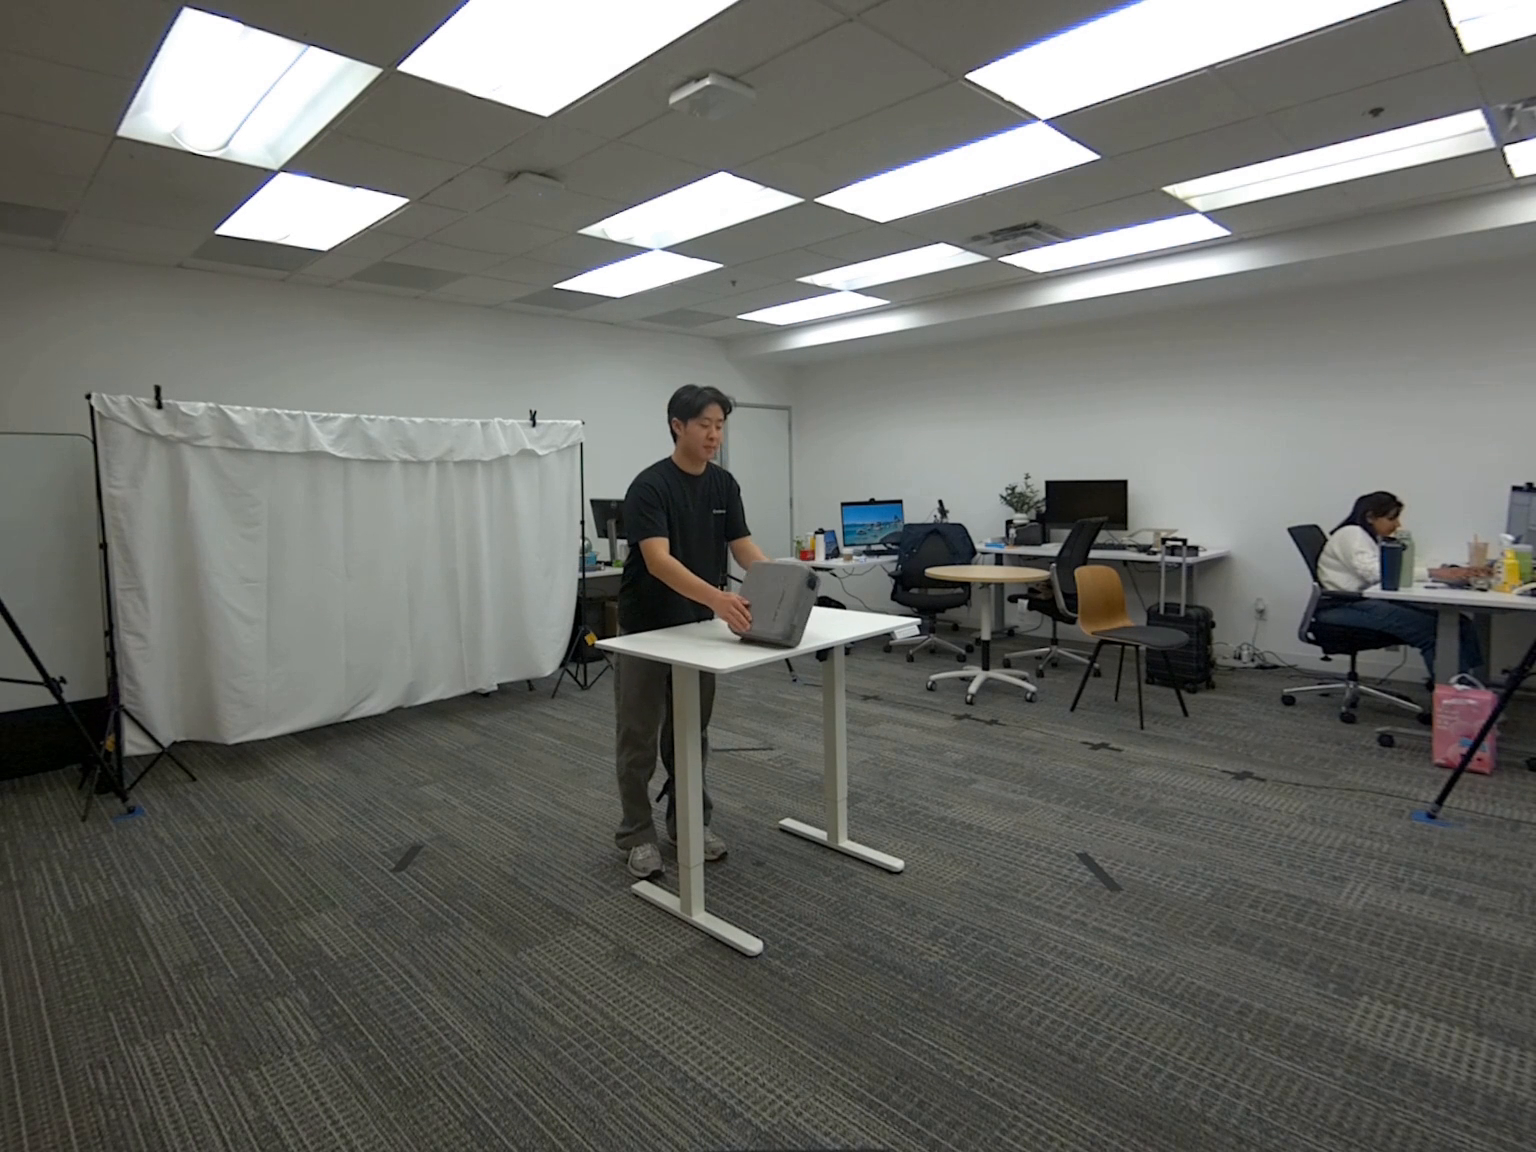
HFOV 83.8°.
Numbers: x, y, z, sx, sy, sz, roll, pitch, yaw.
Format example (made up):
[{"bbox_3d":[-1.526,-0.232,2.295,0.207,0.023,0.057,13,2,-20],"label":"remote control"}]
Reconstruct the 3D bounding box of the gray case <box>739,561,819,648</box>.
[{"bbox_3d":[0.026,0.091,2.687,0.268,0.259,0.100,4,-21,46],"label":"gray case"}]
